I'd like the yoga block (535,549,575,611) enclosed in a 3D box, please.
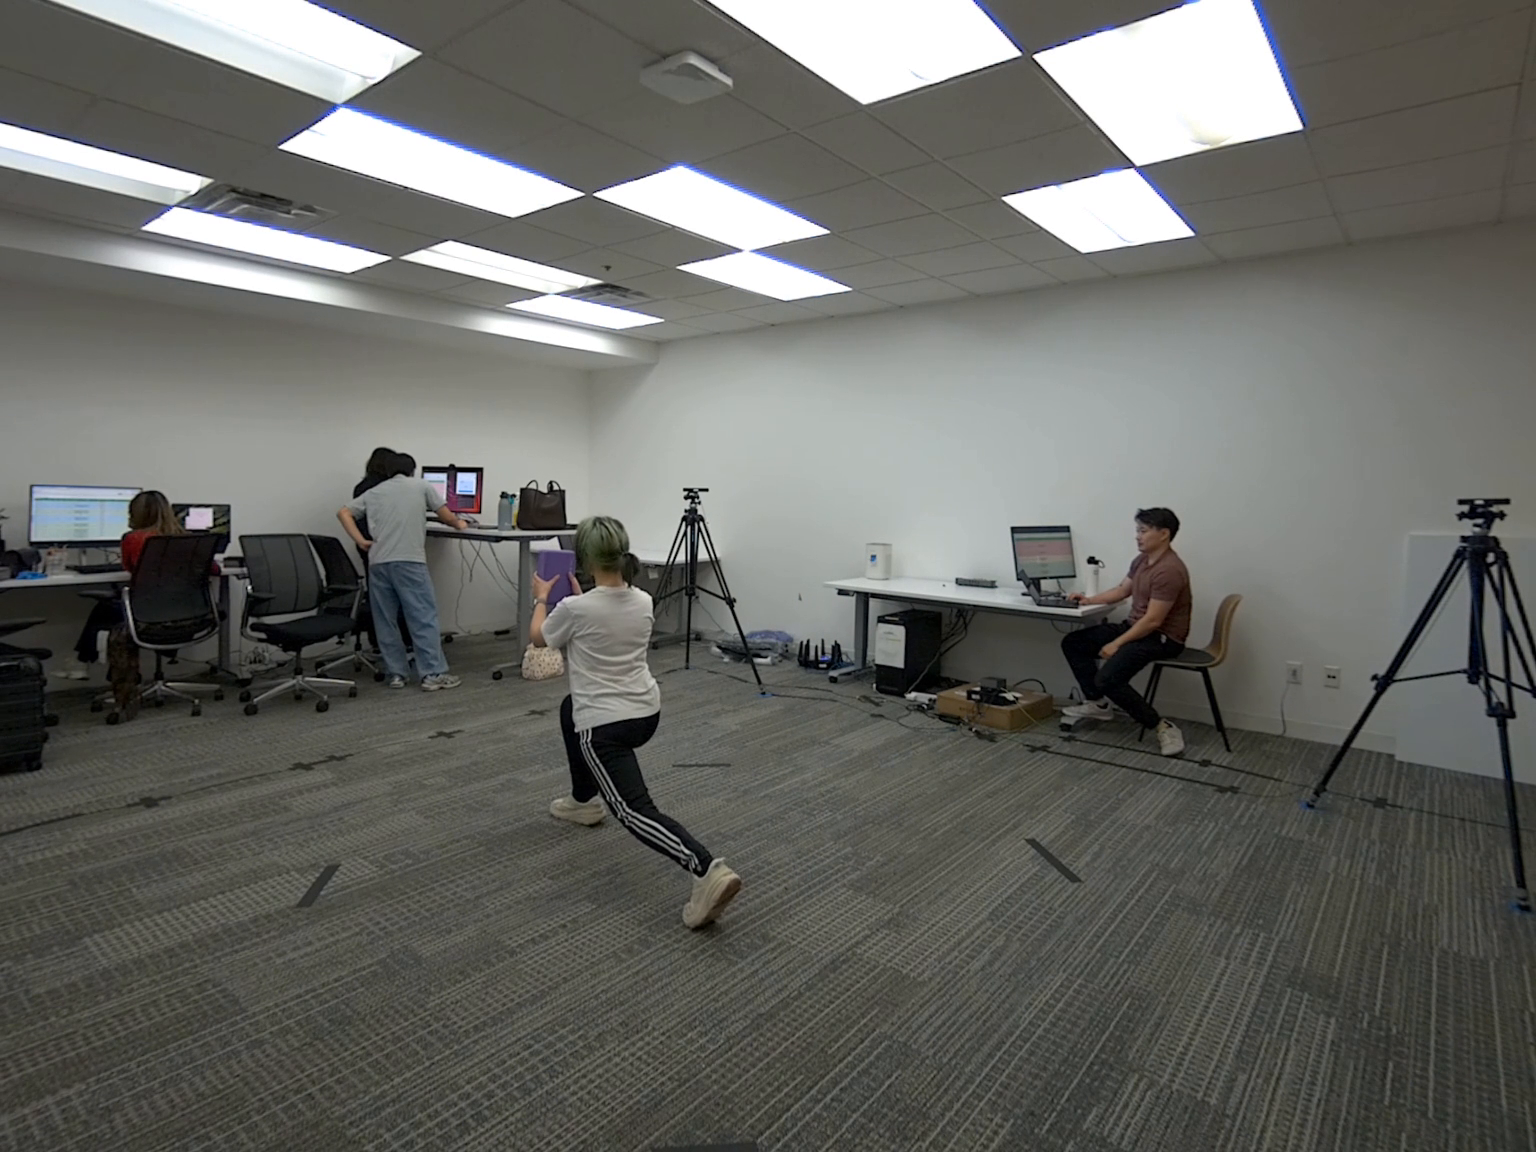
[{"bbox_3d":[-0.922,-0.002,3.642,0.144,0.230,0.079,4,-3,-40],"label":"yoga block"}]
